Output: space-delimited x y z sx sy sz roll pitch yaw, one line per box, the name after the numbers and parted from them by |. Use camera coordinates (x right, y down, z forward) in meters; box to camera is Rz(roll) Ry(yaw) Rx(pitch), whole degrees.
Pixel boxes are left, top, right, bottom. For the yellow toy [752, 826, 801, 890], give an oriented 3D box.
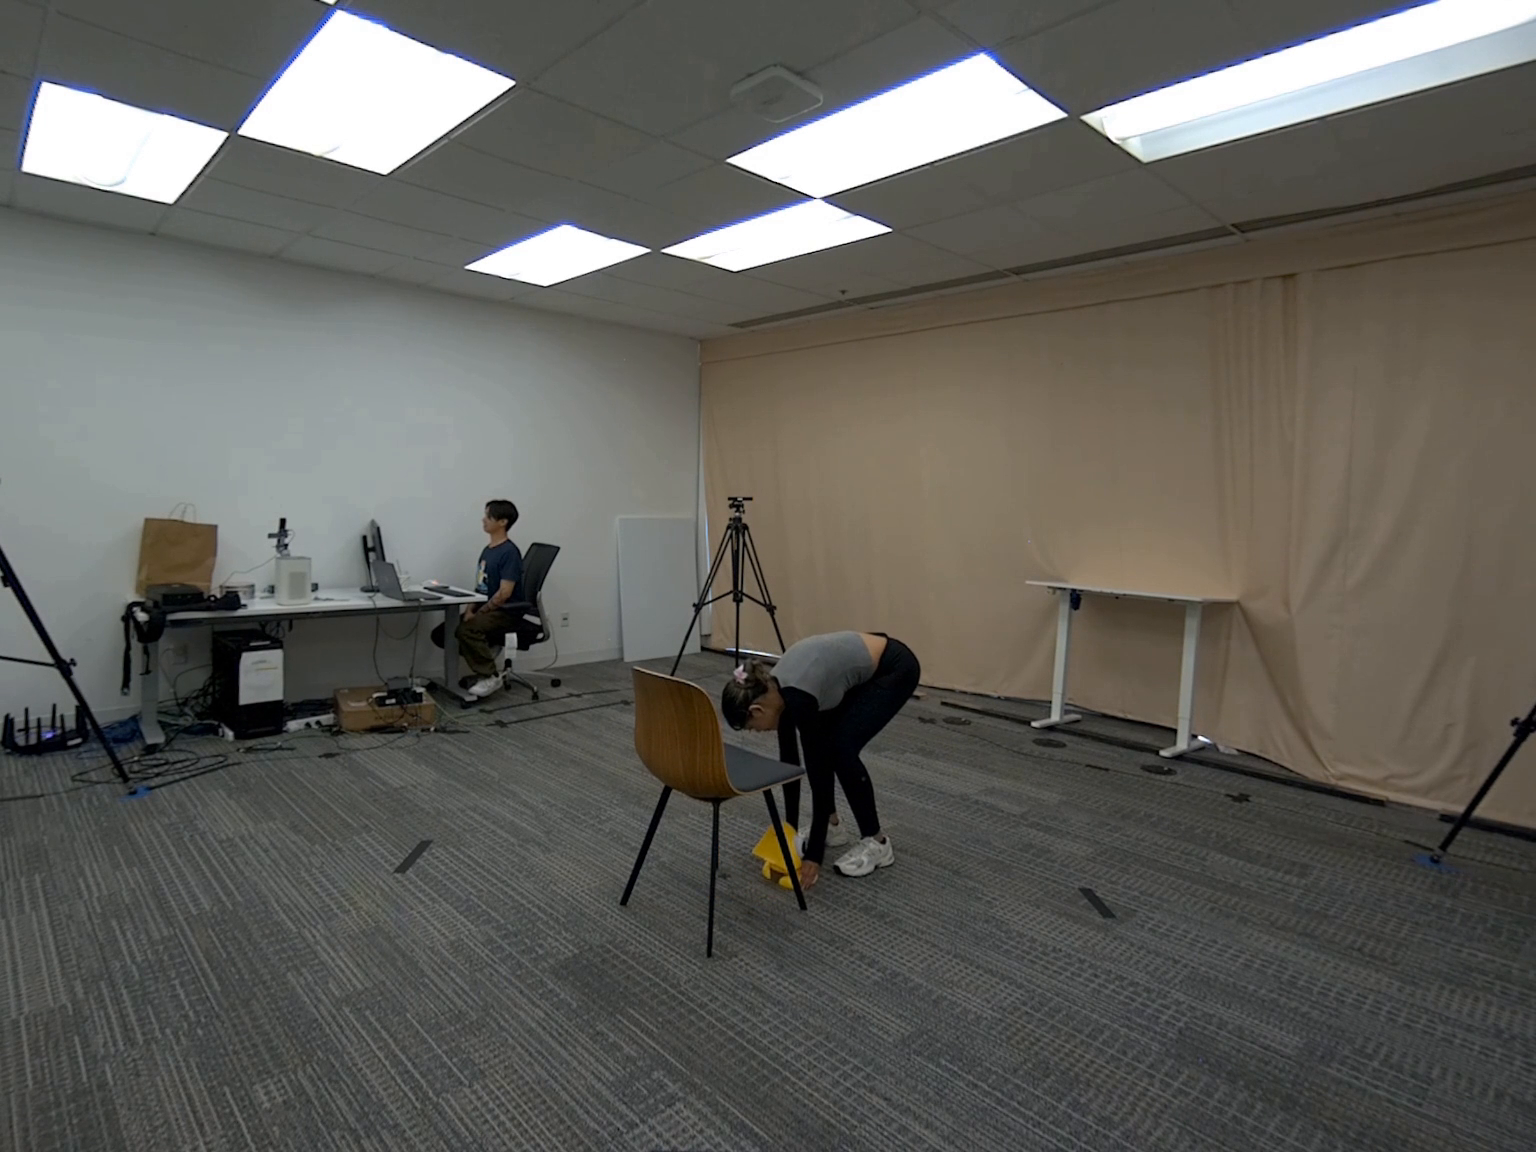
0.067 1.003 3.099 0.189 0.230 0.210 -4 8 -41 | yellow toy
